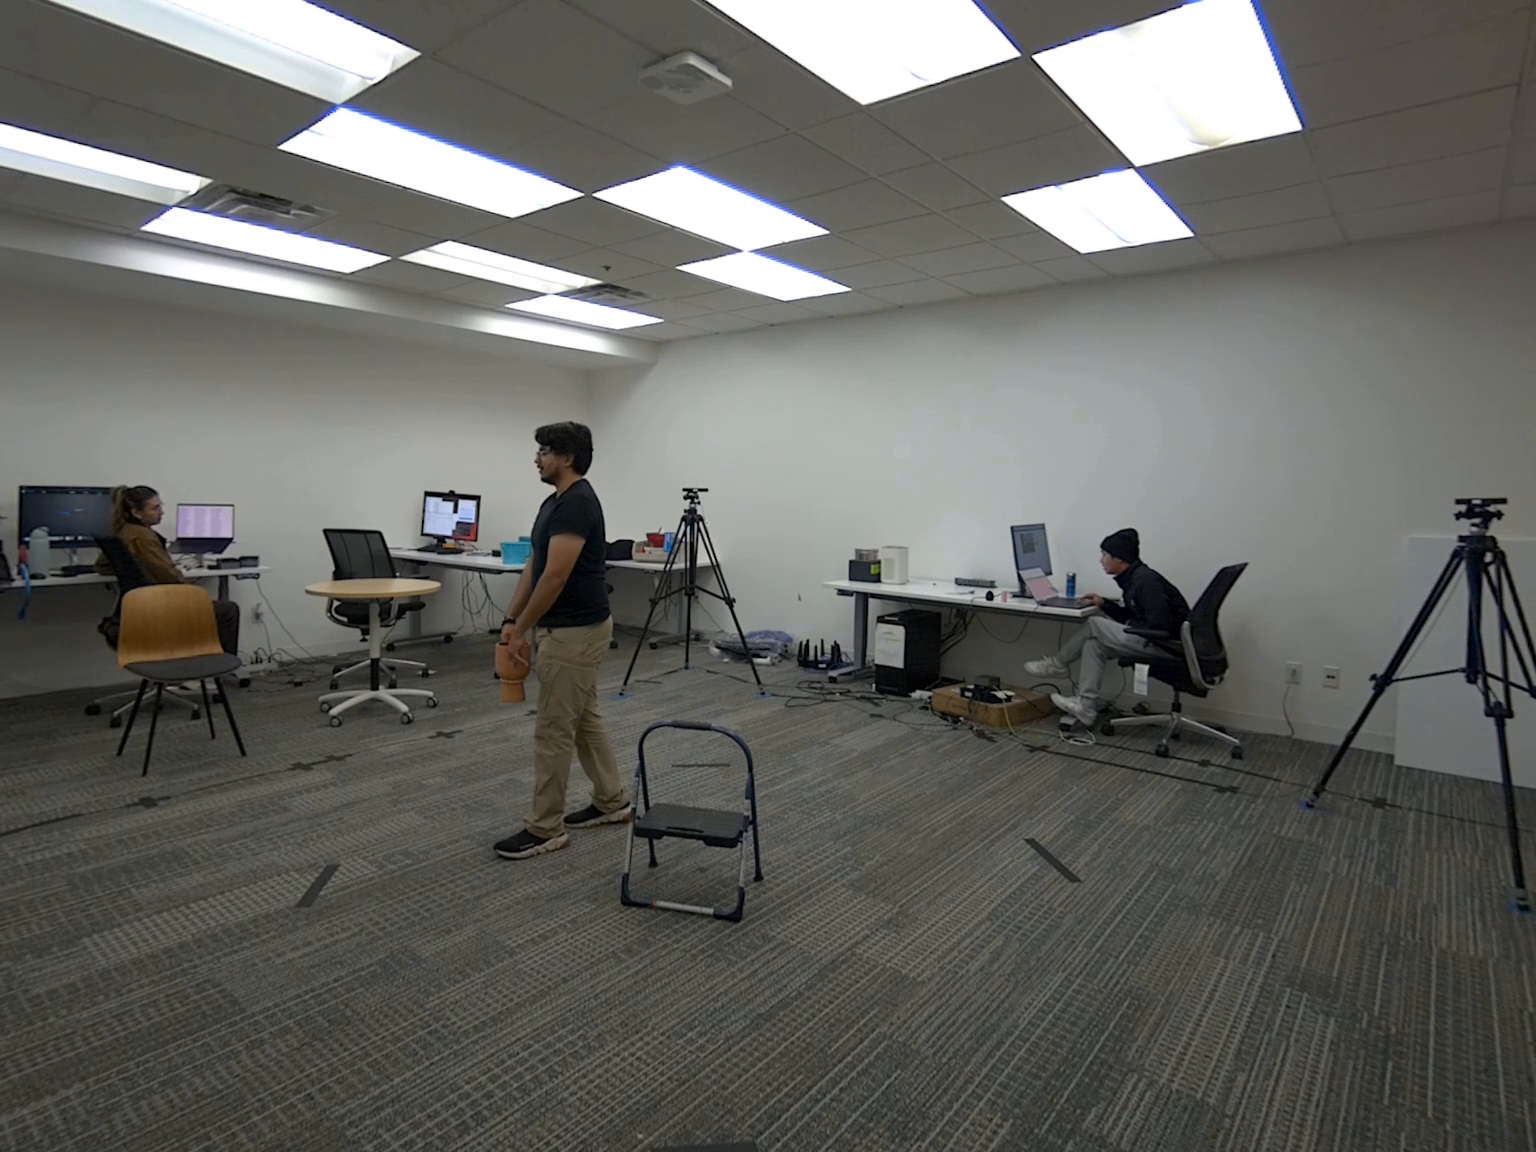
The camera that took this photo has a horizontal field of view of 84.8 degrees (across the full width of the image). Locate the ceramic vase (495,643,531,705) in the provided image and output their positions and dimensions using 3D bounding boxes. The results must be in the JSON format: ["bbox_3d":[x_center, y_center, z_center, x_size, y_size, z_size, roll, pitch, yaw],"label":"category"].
[{"bbox_3d":[-1.008,0.369,3.305,0.137,0.219,0.156,4,6,17],"label":"ceramic vase"}]
